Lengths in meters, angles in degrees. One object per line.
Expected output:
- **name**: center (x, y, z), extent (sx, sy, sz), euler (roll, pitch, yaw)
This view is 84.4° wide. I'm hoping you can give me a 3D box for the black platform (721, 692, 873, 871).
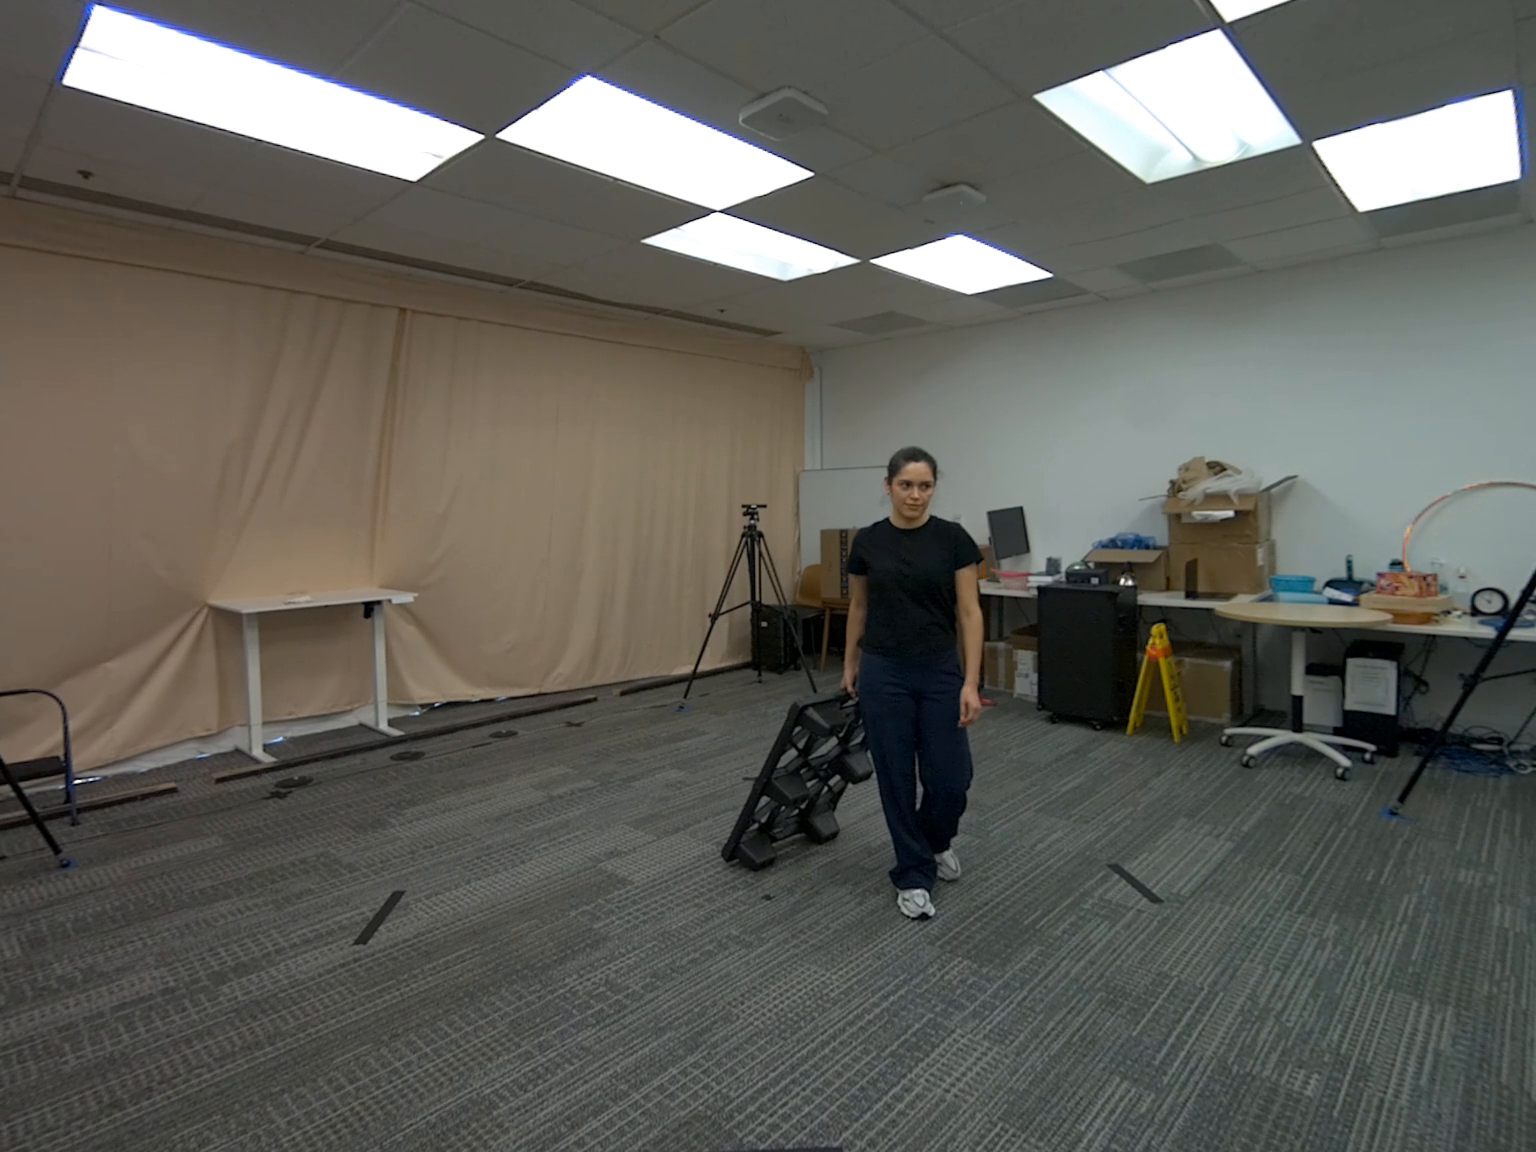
- **black platform**: center (0.213, 0.759, 3.226), extent (0.587, 0.802, 0.148), euler (-5, 37, -44)
